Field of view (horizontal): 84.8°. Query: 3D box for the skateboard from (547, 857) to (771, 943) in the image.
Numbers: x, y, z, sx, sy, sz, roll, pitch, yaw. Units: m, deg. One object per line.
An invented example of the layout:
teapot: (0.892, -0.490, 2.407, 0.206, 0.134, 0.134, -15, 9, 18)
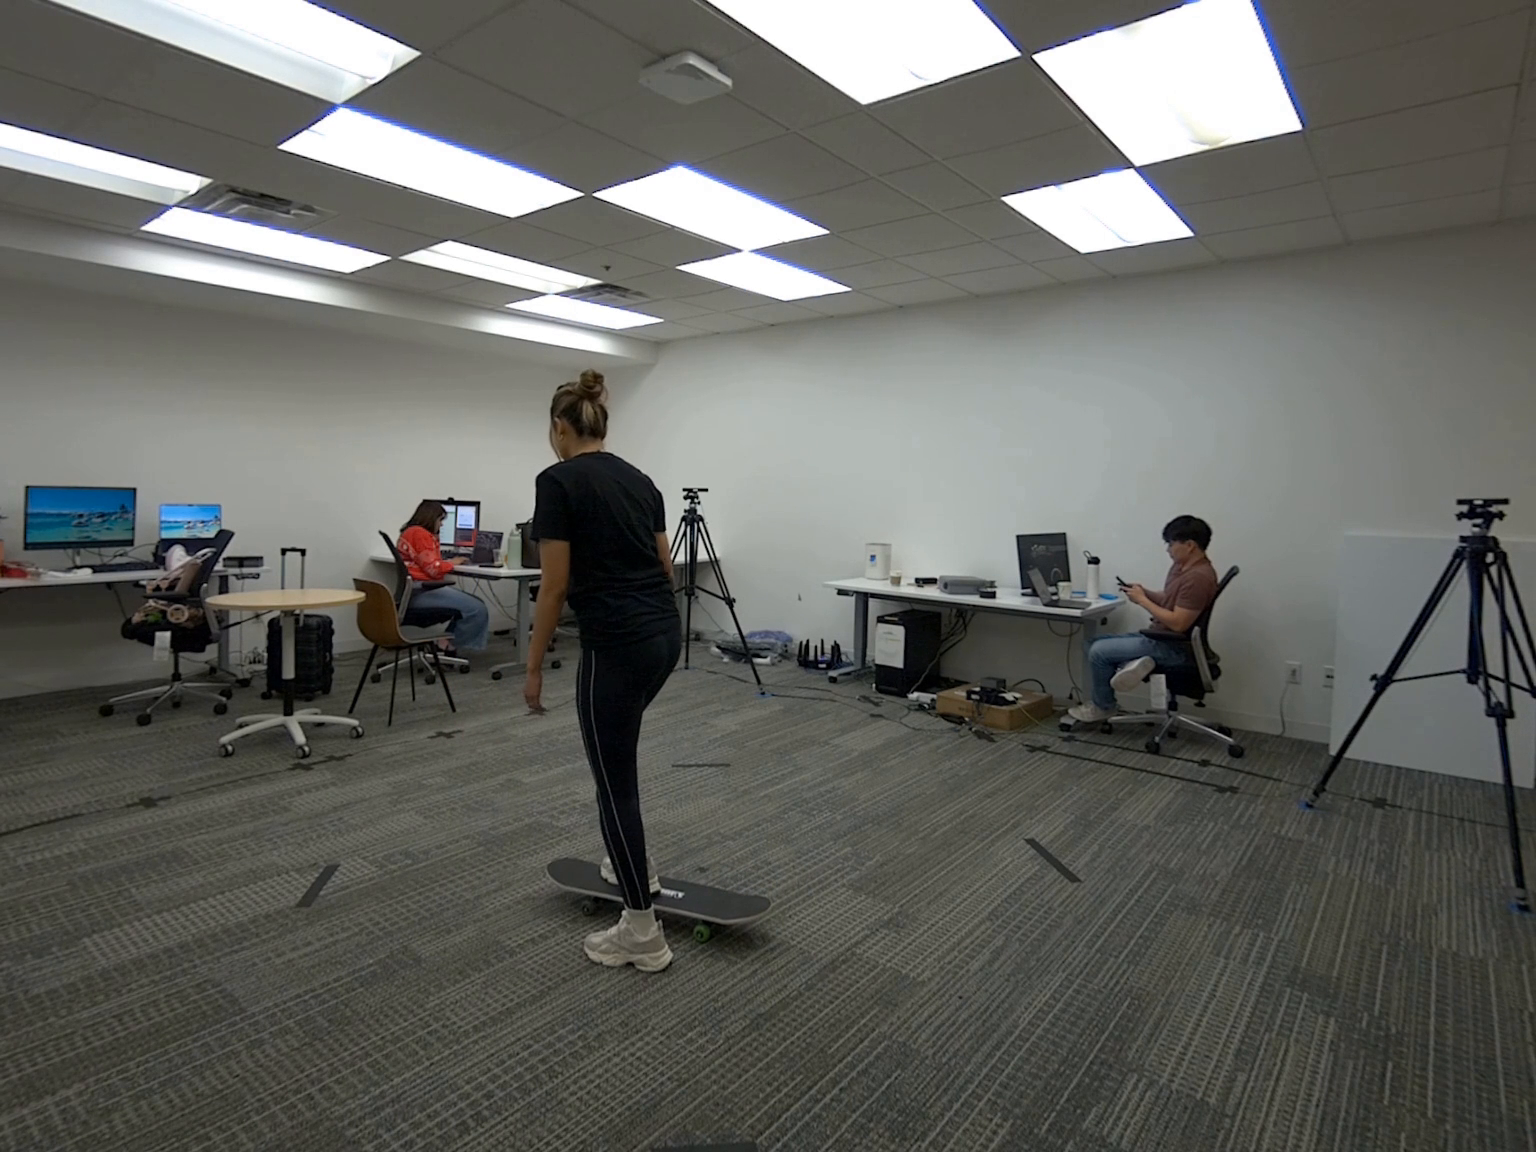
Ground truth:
skateboard: (-0.376, 1.046, 2.753, 0.803, 0.110, 0.190, 3, 4, 21)
